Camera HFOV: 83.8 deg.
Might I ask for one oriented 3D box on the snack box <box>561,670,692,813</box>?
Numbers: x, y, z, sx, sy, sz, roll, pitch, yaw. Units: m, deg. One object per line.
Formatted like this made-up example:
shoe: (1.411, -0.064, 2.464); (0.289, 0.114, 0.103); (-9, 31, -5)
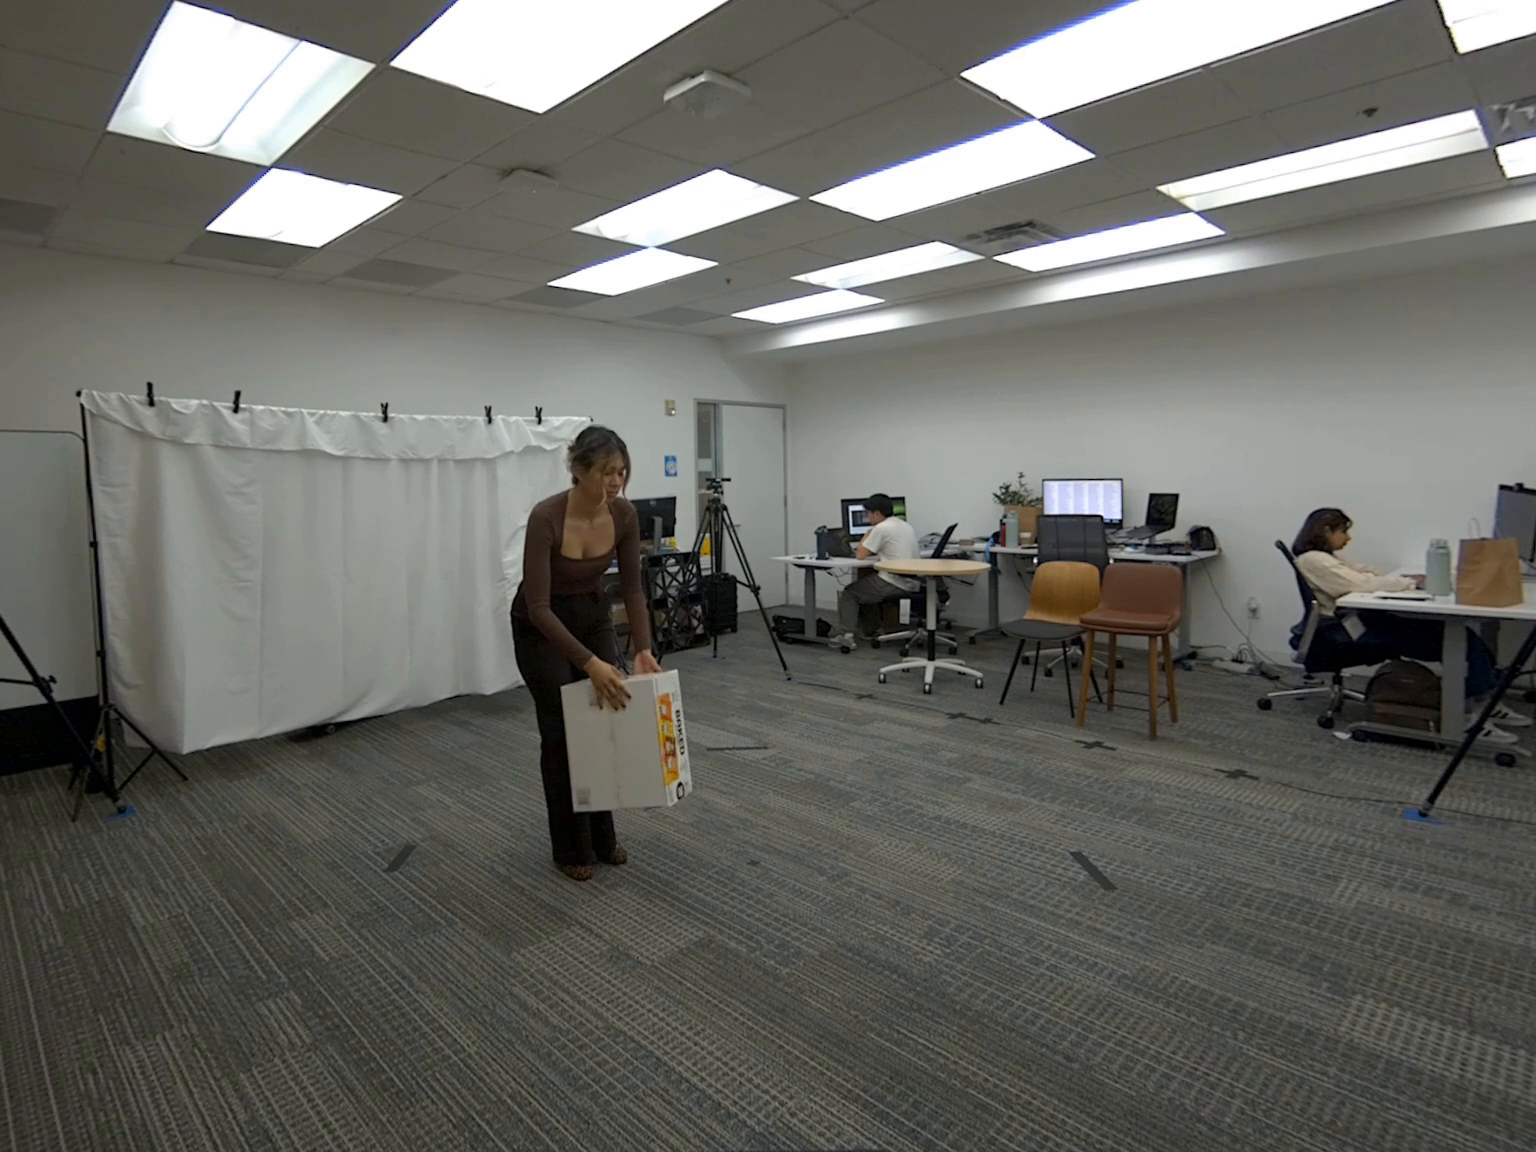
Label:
snack box: (-0.472, 0.546, 2.809); (0.345, 0.407, 0.202); (-8, -3, 17)
